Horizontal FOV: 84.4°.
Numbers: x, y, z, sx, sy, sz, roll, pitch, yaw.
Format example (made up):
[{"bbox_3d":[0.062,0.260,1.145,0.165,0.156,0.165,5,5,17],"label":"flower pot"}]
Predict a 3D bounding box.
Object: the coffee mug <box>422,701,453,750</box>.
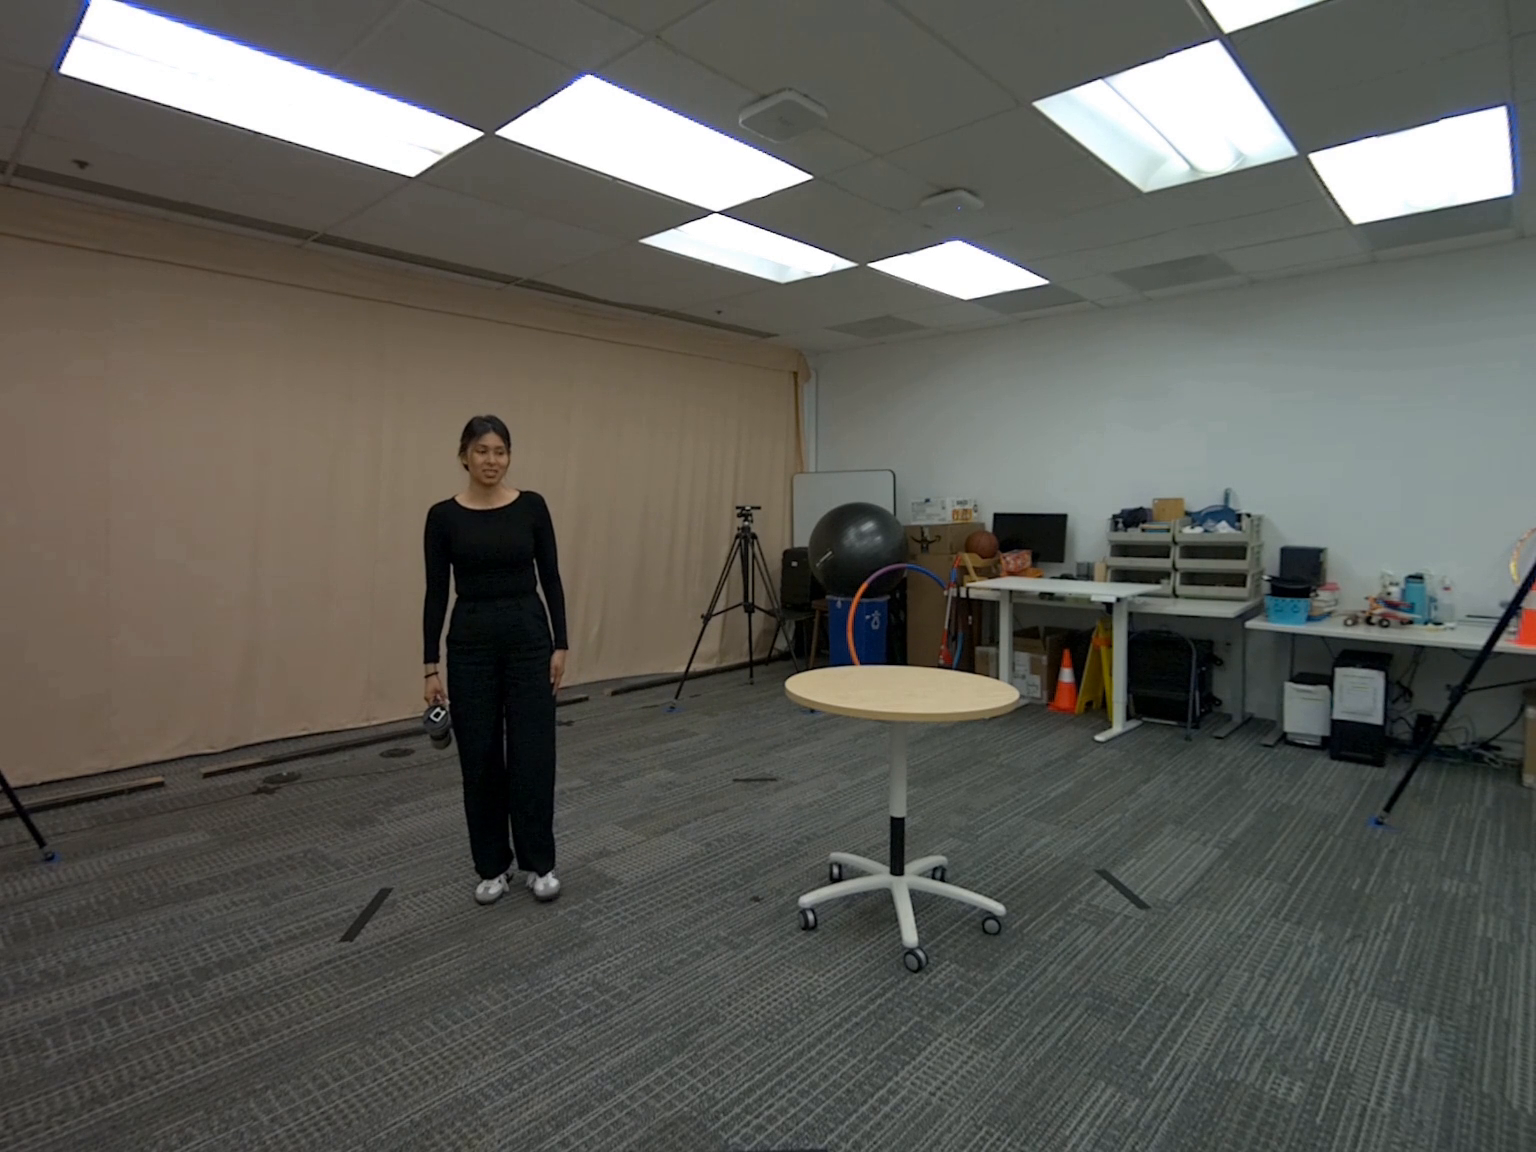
[{"bbox_3d":[-1.160,0.519,2.971,0.087,0.125,0.200,-17,-30,-17],"label":"coffee mug"}]
